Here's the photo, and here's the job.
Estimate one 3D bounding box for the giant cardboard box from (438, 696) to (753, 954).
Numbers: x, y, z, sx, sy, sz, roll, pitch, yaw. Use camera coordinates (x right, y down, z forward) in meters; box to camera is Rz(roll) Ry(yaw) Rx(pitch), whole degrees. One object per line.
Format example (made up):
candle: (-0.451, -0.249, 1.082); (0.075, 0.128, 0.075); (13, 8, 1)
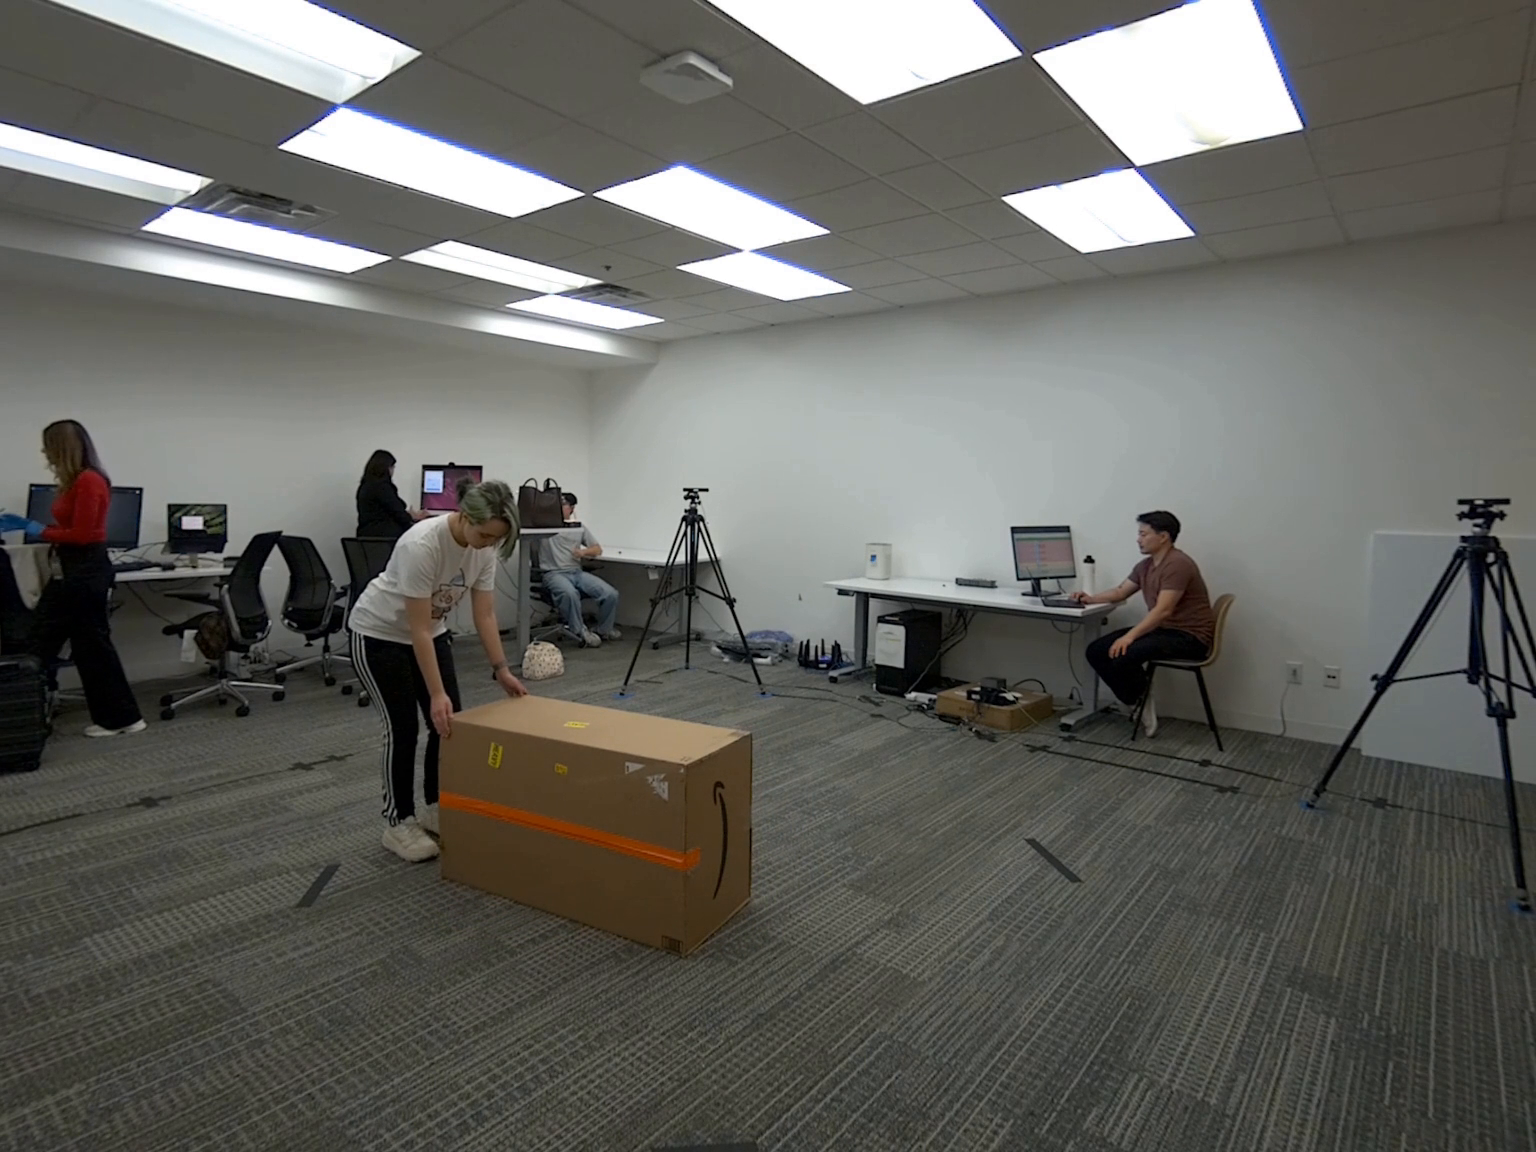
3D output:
giant cardboard box: (-0.615, 0.793, 2.924); (1.055, 0.582, 0.436); (3, 5, 28)
